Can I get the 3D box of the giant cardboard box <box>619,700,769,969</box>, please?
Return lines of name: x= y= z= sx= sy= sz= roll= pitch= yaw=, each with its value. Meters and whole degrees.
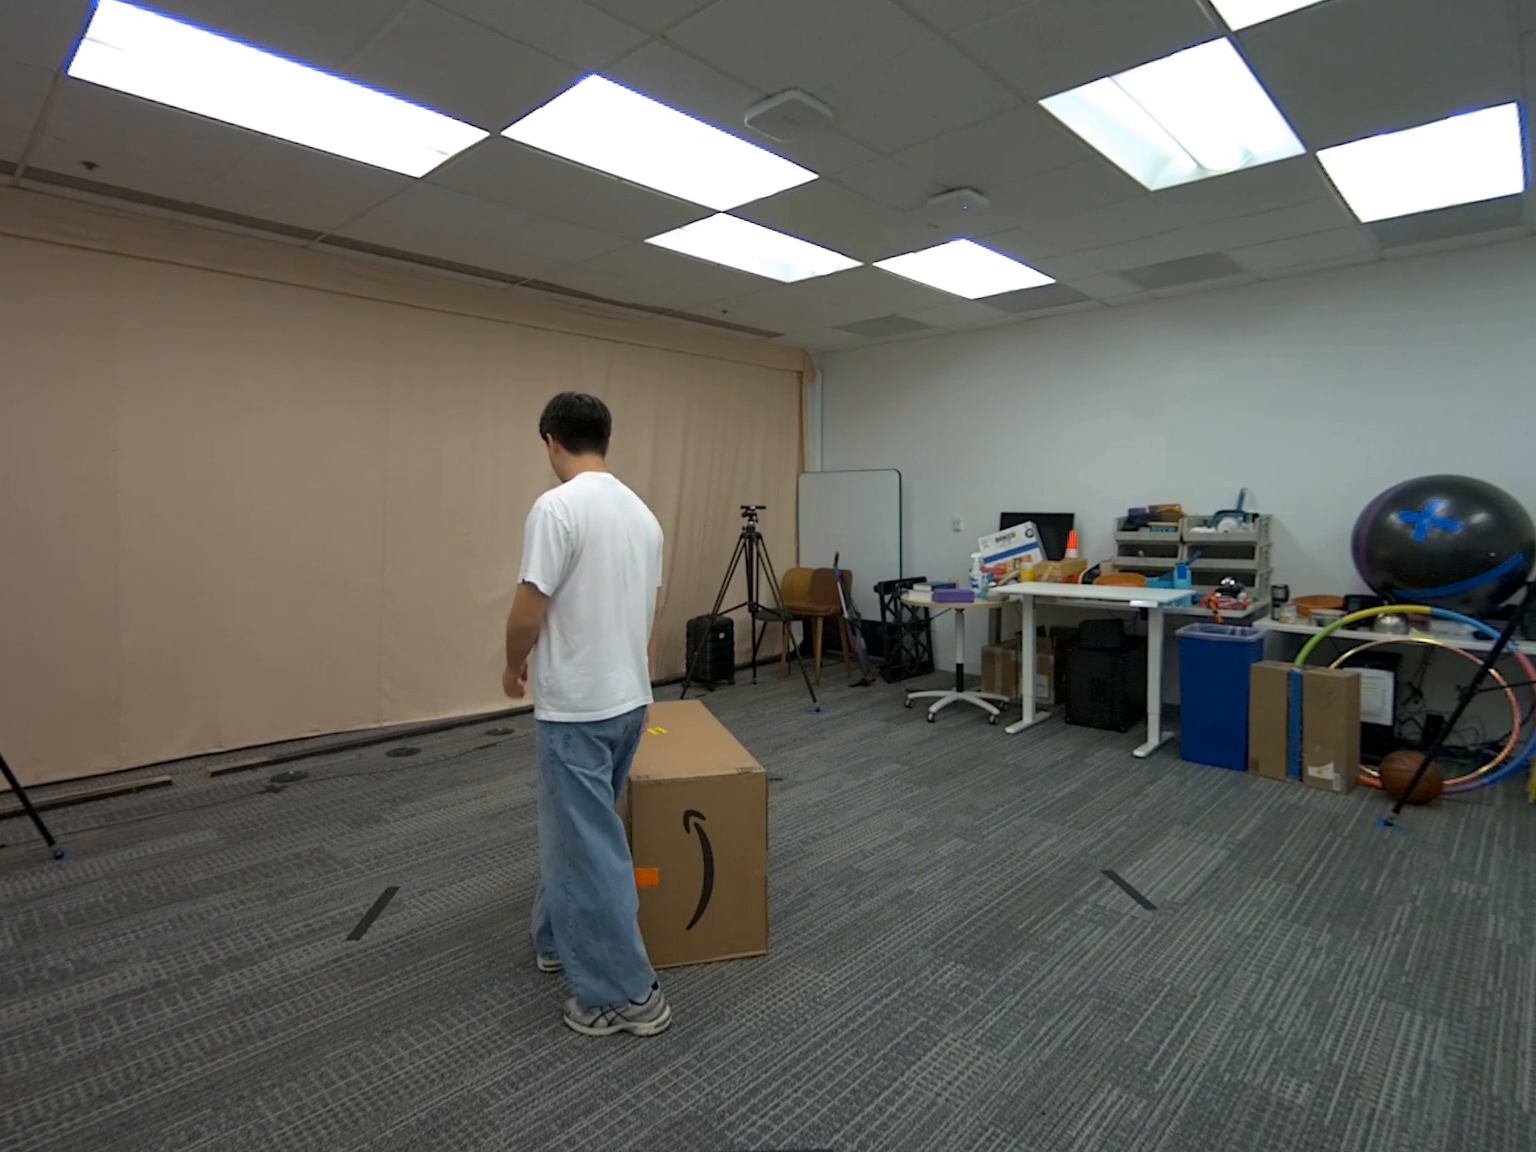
giant cardboard box: x=-0.341 y=0.852 z=3.045 sx=0.420 sy=0.576 sz=1.043 roll=-1 pitch=4 yaw=-15
